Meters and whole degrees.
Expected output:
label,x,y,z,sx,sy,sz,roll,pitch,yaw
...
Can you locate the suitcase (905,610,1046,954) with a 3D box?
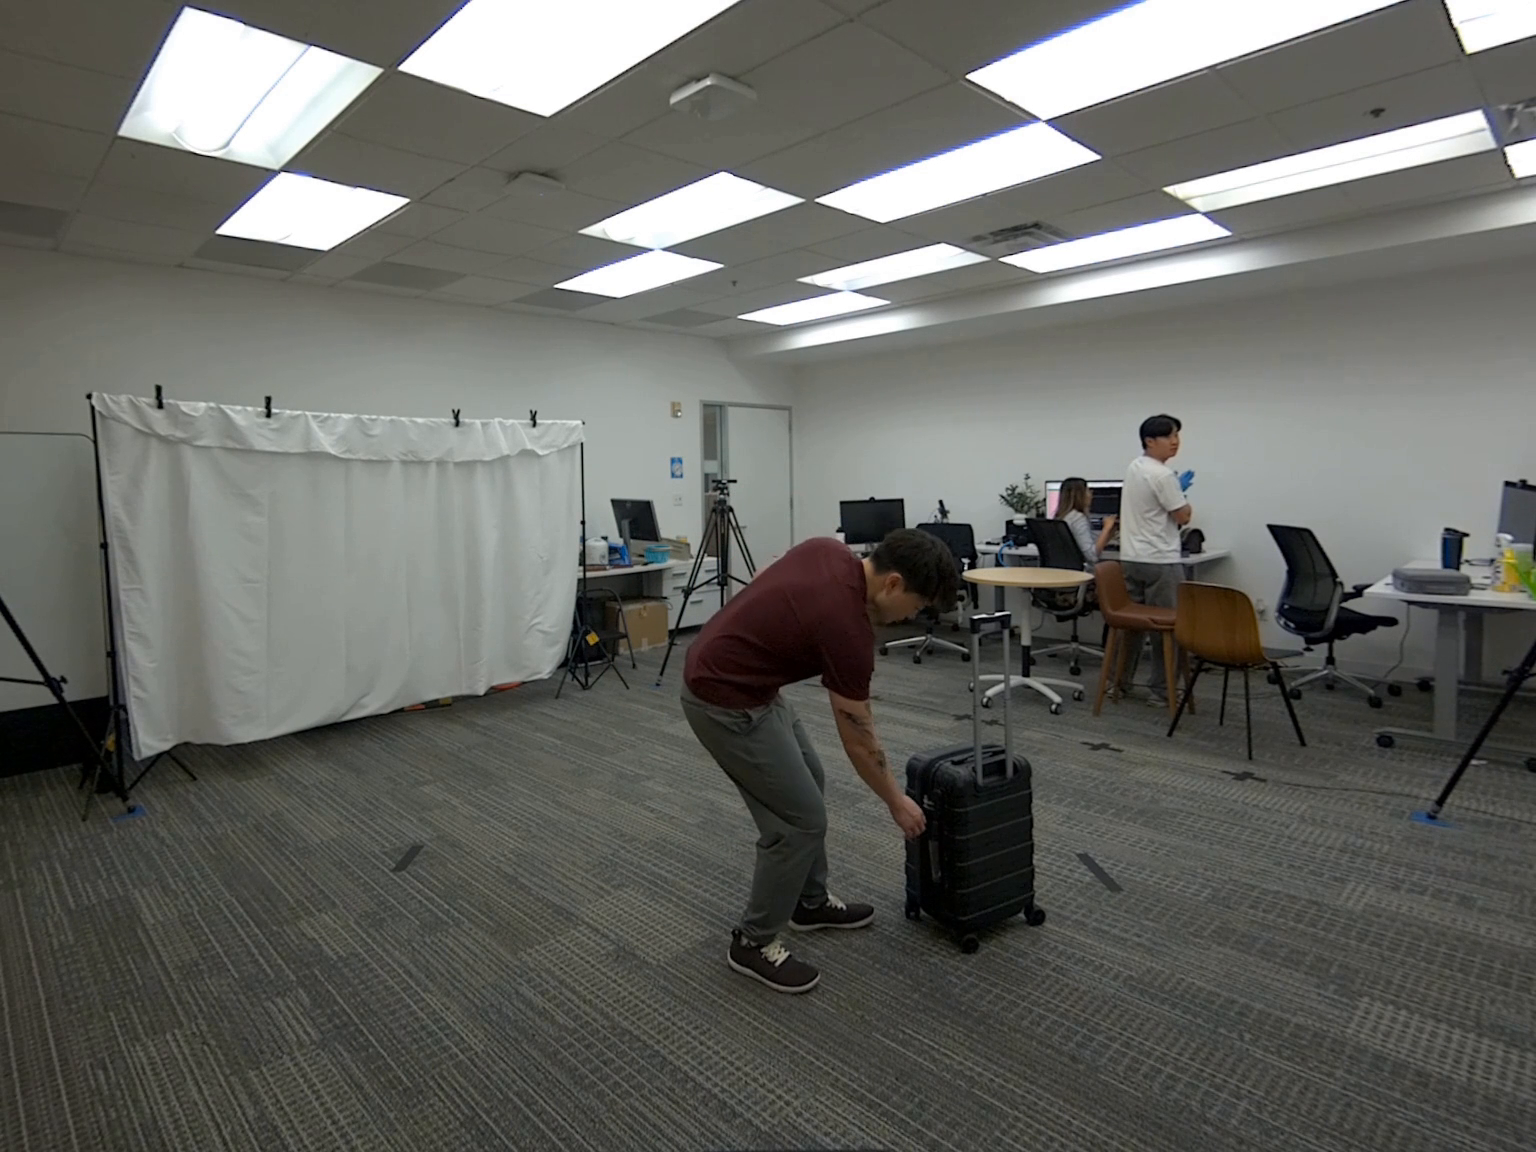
label,x,y,z,sx,sy,sz,roll,pitch,yaw
suitcase,0.627,0.609,2.659,0.375,0.977,0.263,-4,2,-29
